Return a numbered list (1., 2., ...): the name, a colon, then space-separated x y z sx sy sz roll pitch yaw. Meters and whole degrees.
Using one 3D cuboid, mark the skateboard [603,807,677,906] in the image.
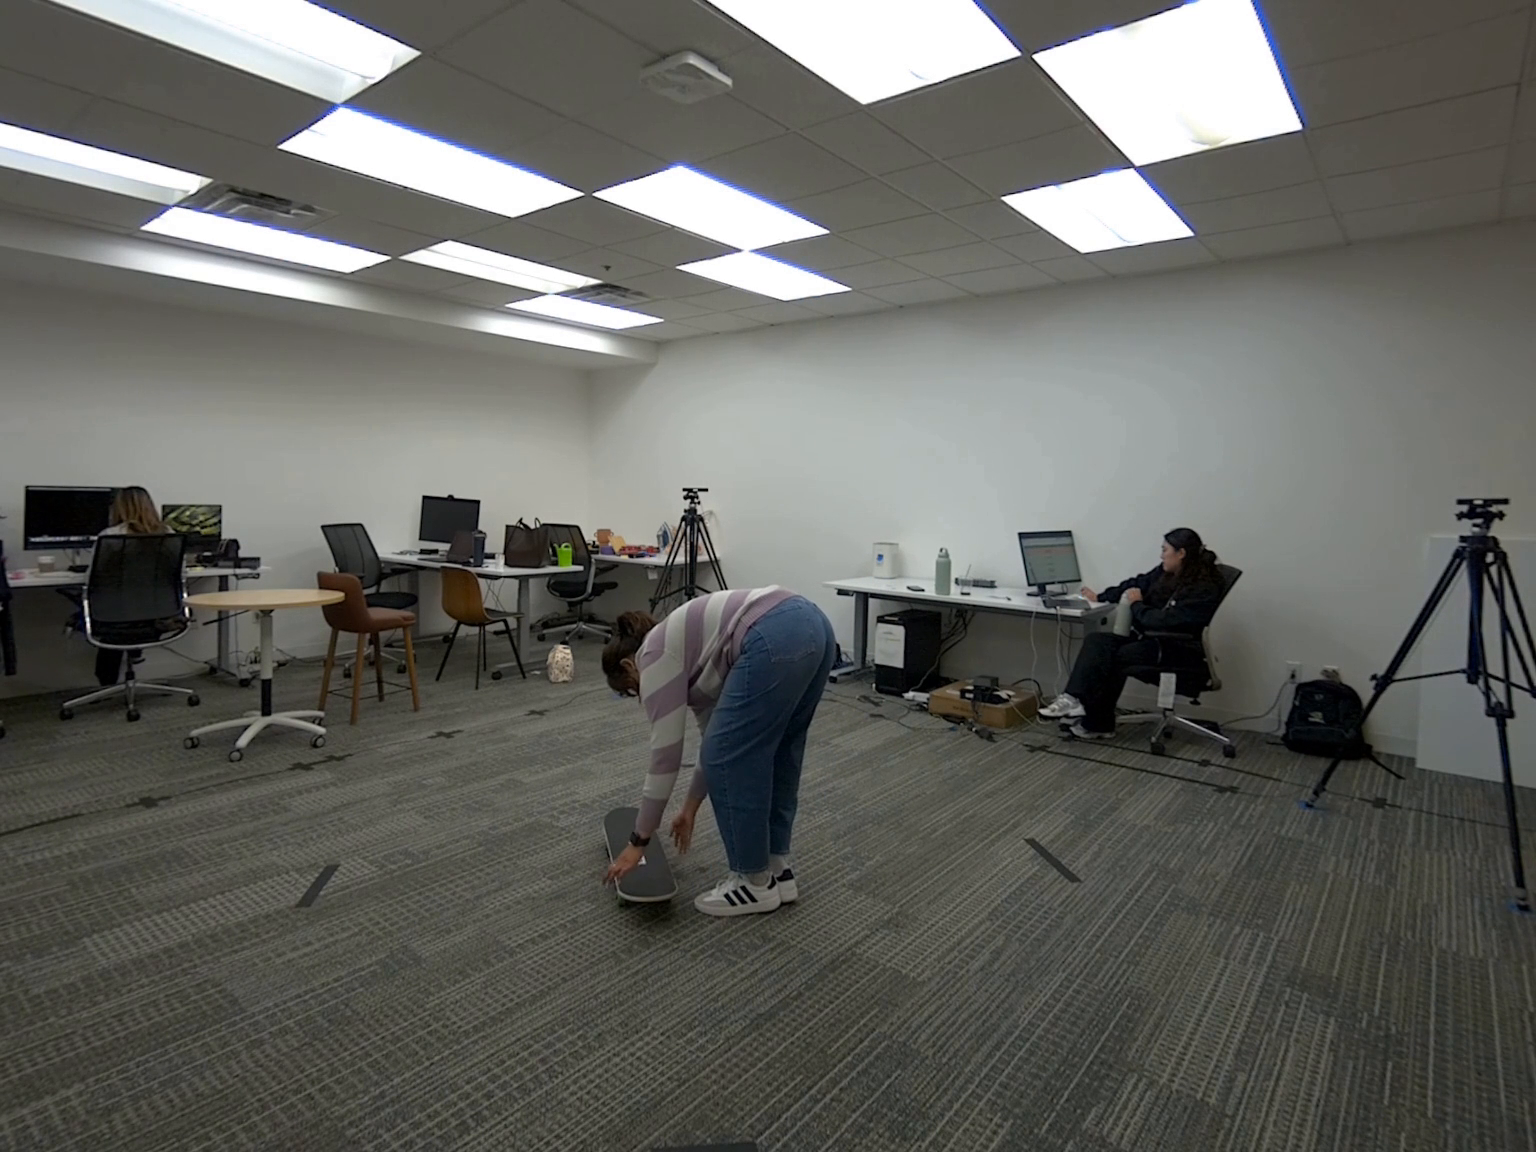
1. skateboard: -0.478 1.014 3.031 0.190 0.110 0.799 0 5 -15
